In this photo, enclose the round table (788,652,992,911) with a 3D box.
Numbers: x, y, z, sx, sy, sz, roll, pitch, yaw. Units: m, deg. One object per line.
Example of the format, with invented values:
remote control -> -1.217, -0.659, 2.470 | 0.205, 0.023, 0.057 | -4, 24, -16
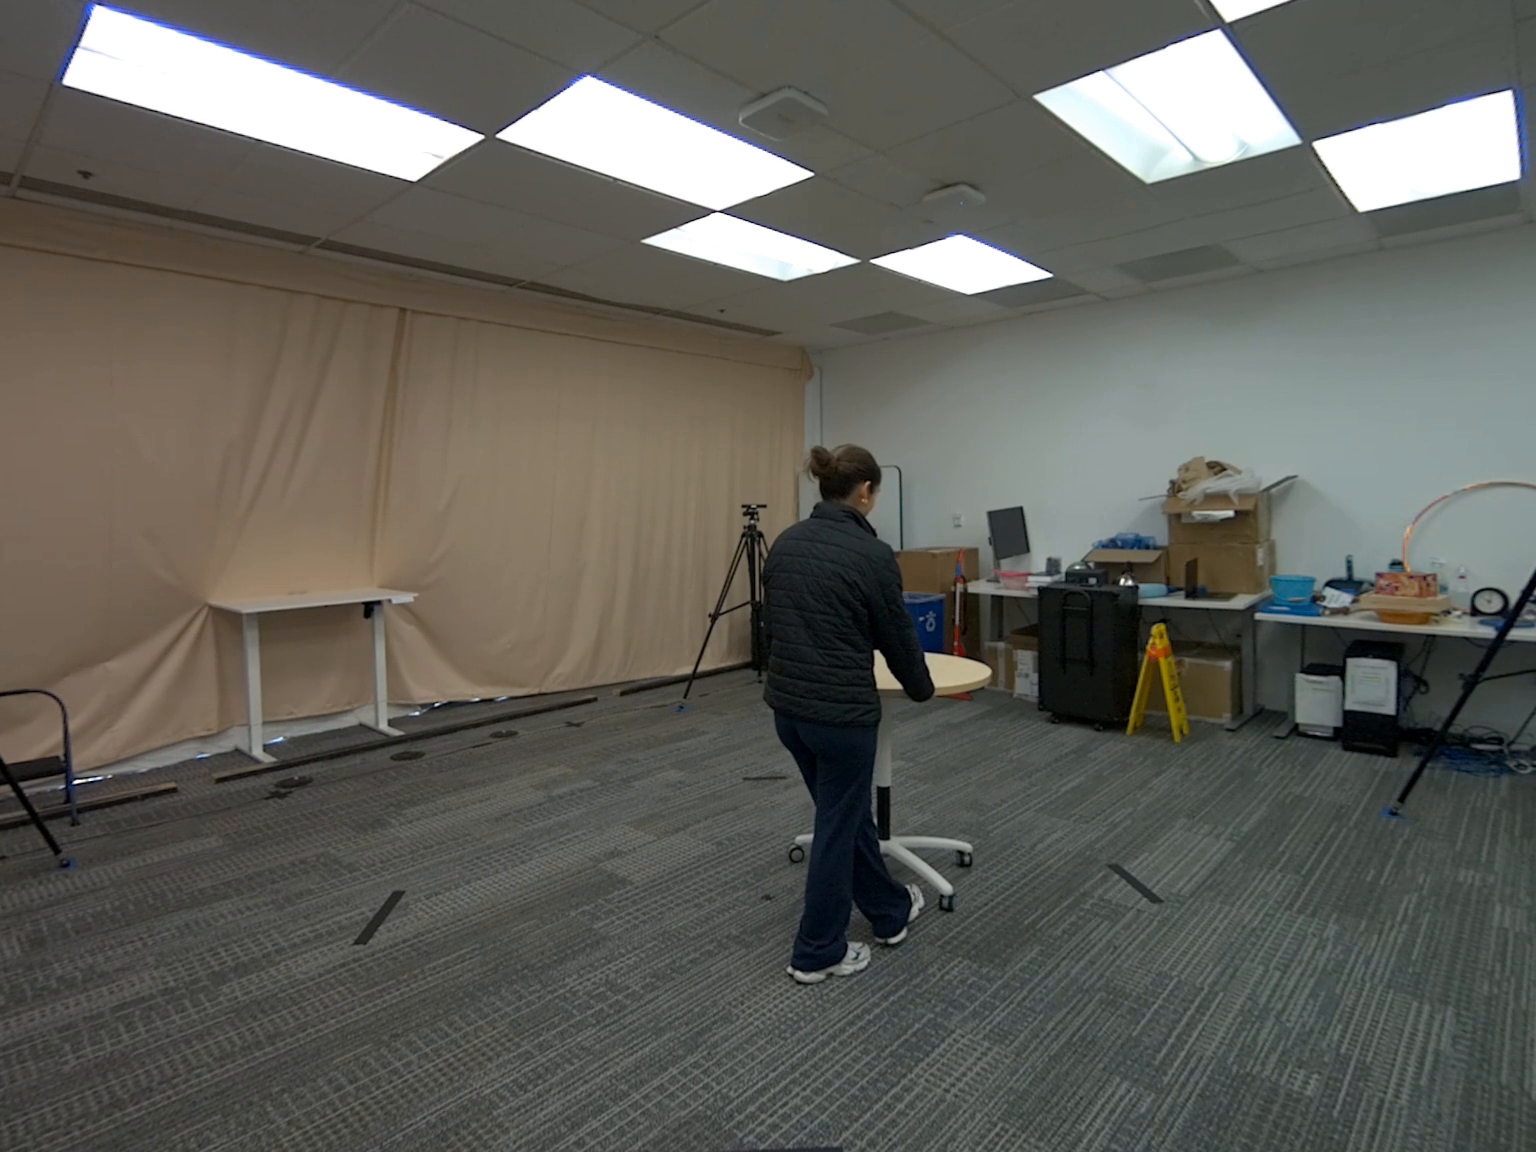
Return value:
round table -> 0.431, 0.725, 3.126 | 0.784, 0.785, 0.788 | -1, 4, -2
